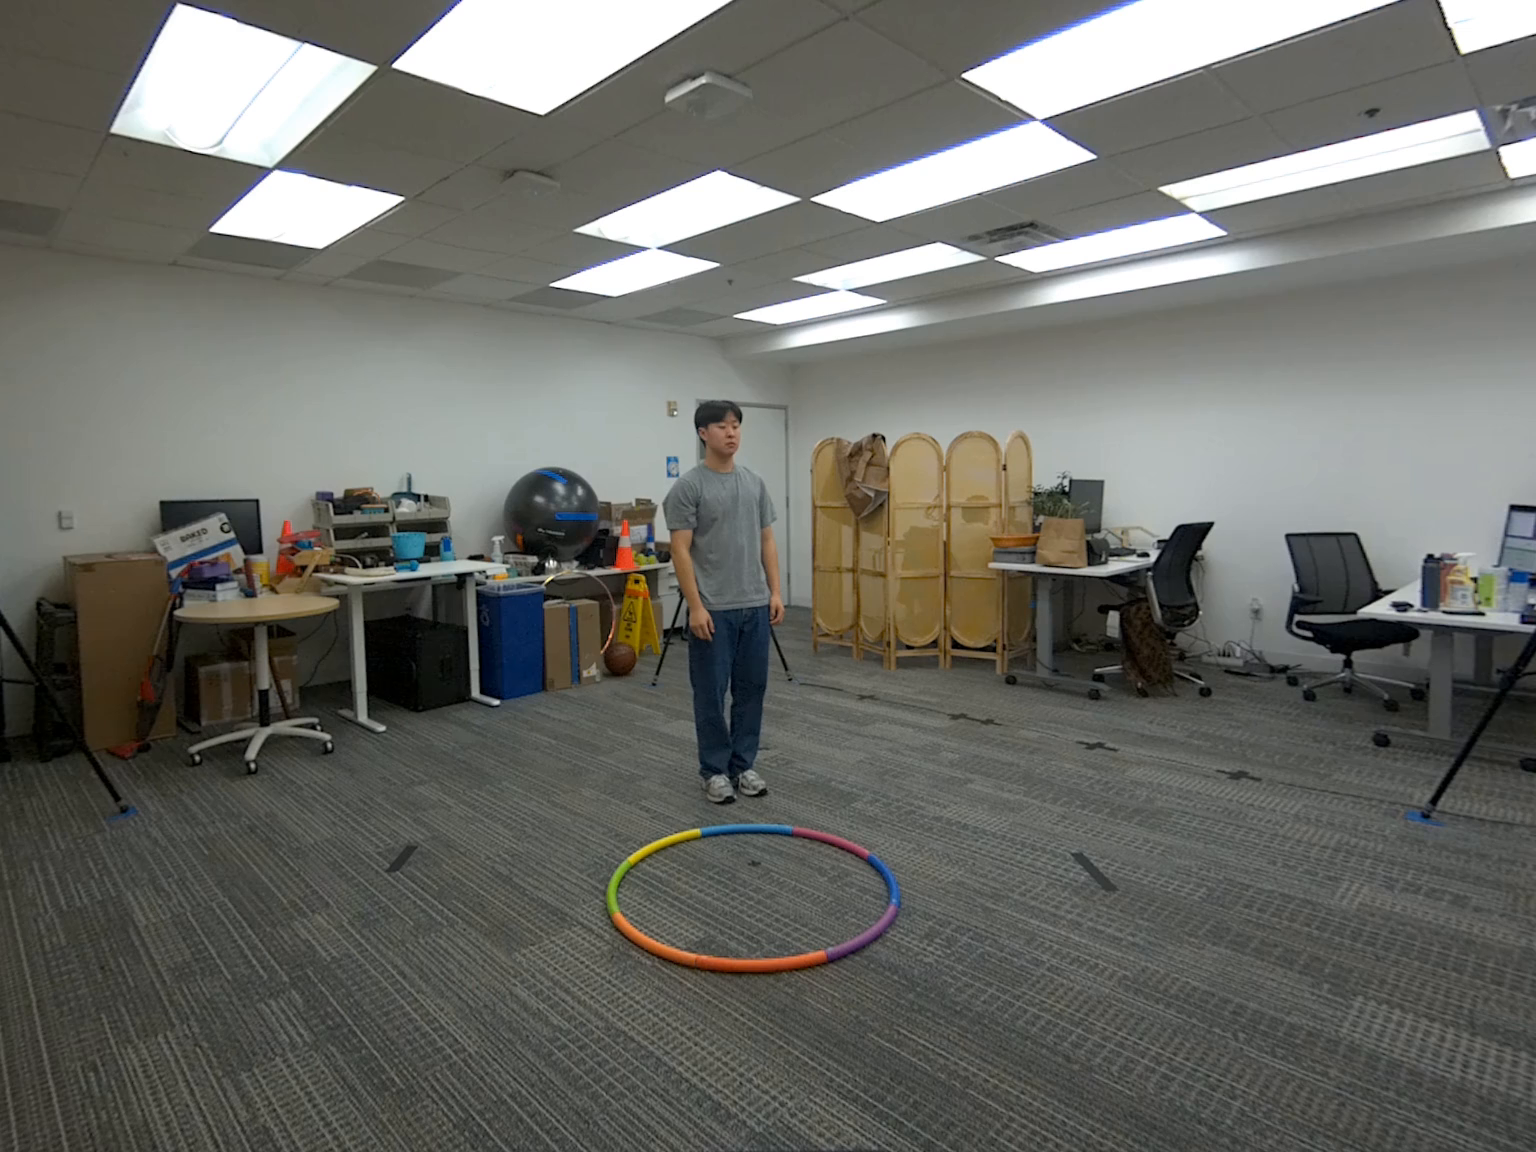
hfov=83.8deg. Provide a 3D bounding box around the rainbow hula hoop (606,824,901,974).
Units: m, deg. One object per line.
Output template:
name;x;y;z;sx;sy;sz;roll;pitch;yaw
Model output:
rainbow hula hoop;-0.052;1.038;2.902;0.978;0.035;0.984;-1;7;-2
